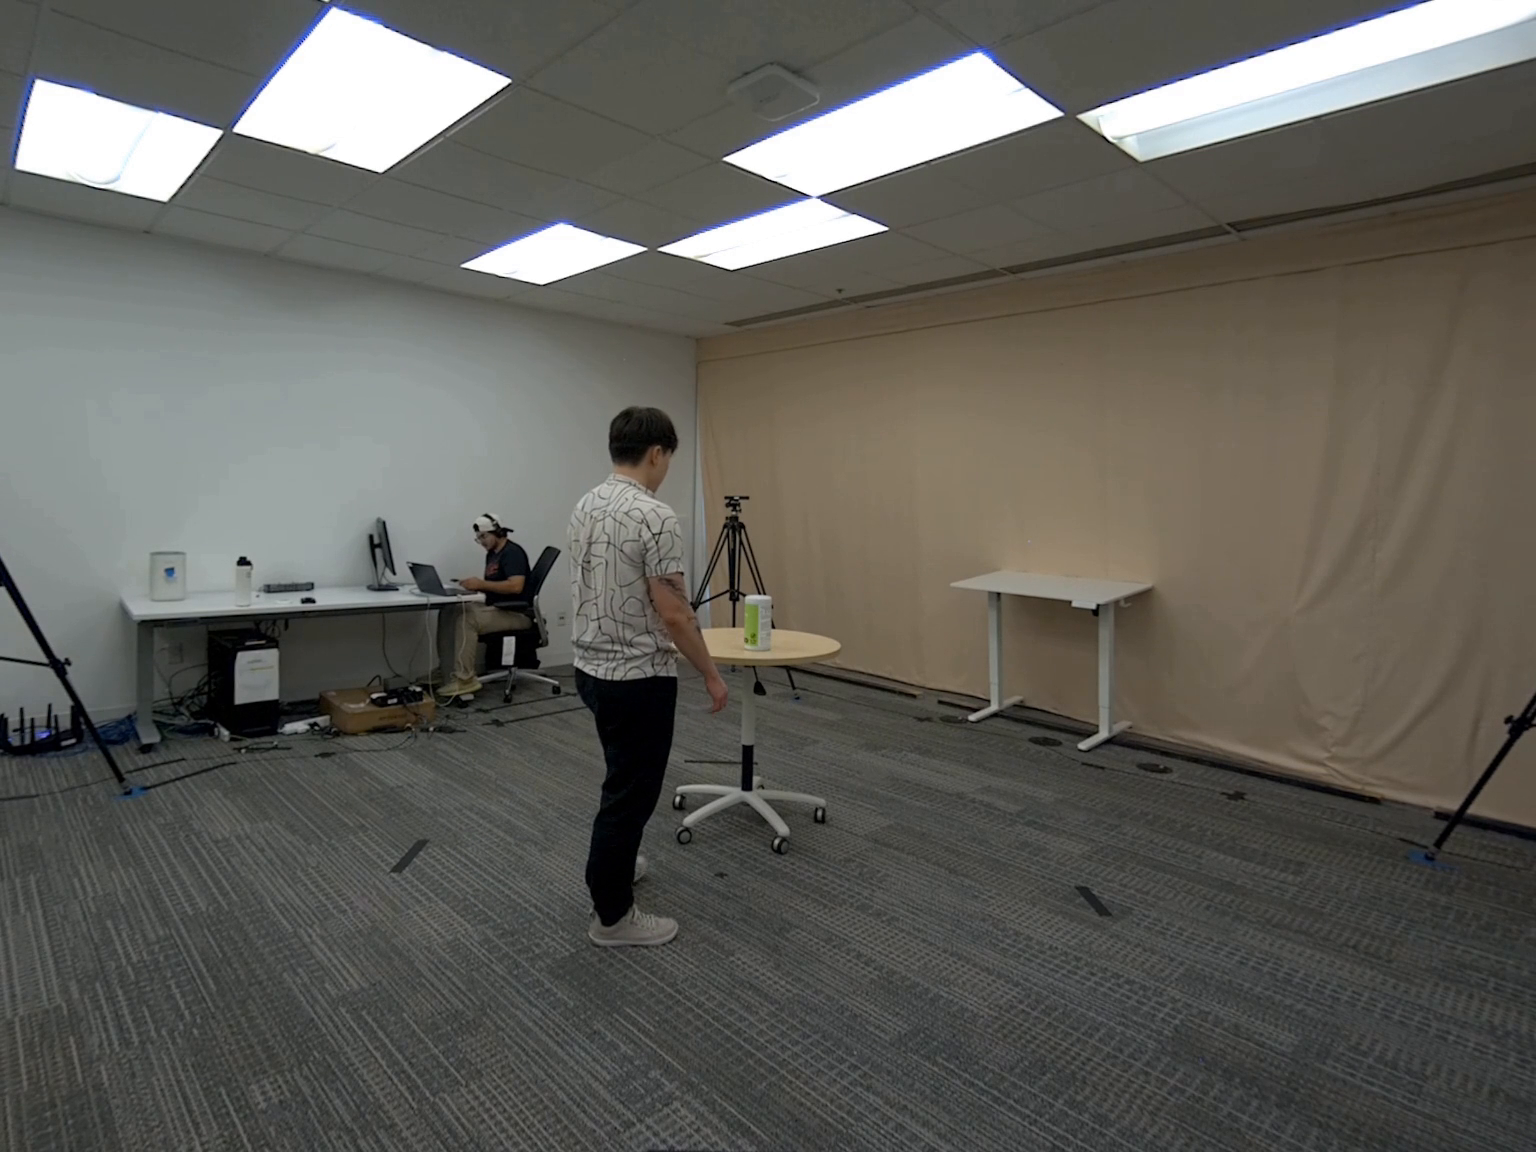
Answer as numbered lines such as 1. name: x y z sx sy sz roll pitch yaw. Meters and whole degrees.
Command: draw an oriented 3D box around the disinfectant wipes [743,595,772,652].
1. disinfectant wipes: -0.045 0.192 3.414 0.118 0.217 0.118 1 4 -1
